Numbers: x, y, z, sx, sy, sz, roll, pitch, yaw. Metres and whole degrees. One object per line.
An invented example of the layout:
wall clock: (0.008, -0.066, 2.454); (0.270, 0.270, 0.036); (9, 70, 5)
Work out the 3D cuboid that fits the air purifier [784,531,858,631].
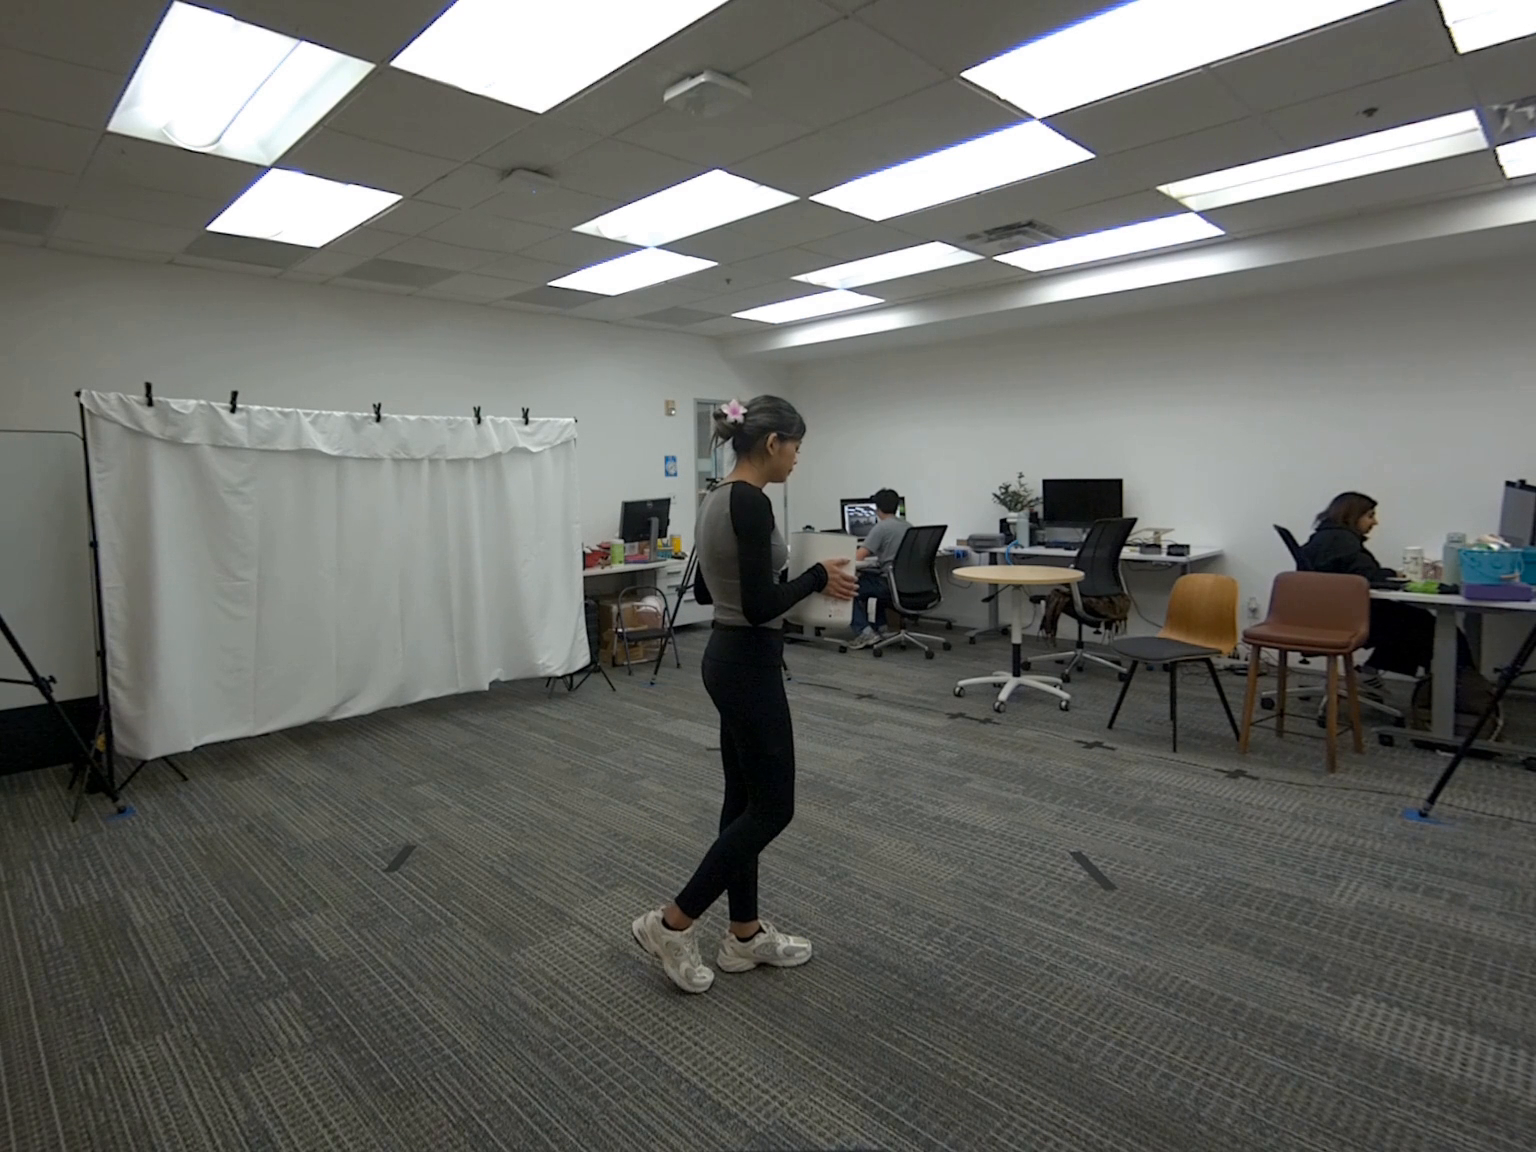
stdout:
air purifier: (0.150, 0.014, 2.456); (0.168, 0.266, 0.174); (5, -4, -16)
